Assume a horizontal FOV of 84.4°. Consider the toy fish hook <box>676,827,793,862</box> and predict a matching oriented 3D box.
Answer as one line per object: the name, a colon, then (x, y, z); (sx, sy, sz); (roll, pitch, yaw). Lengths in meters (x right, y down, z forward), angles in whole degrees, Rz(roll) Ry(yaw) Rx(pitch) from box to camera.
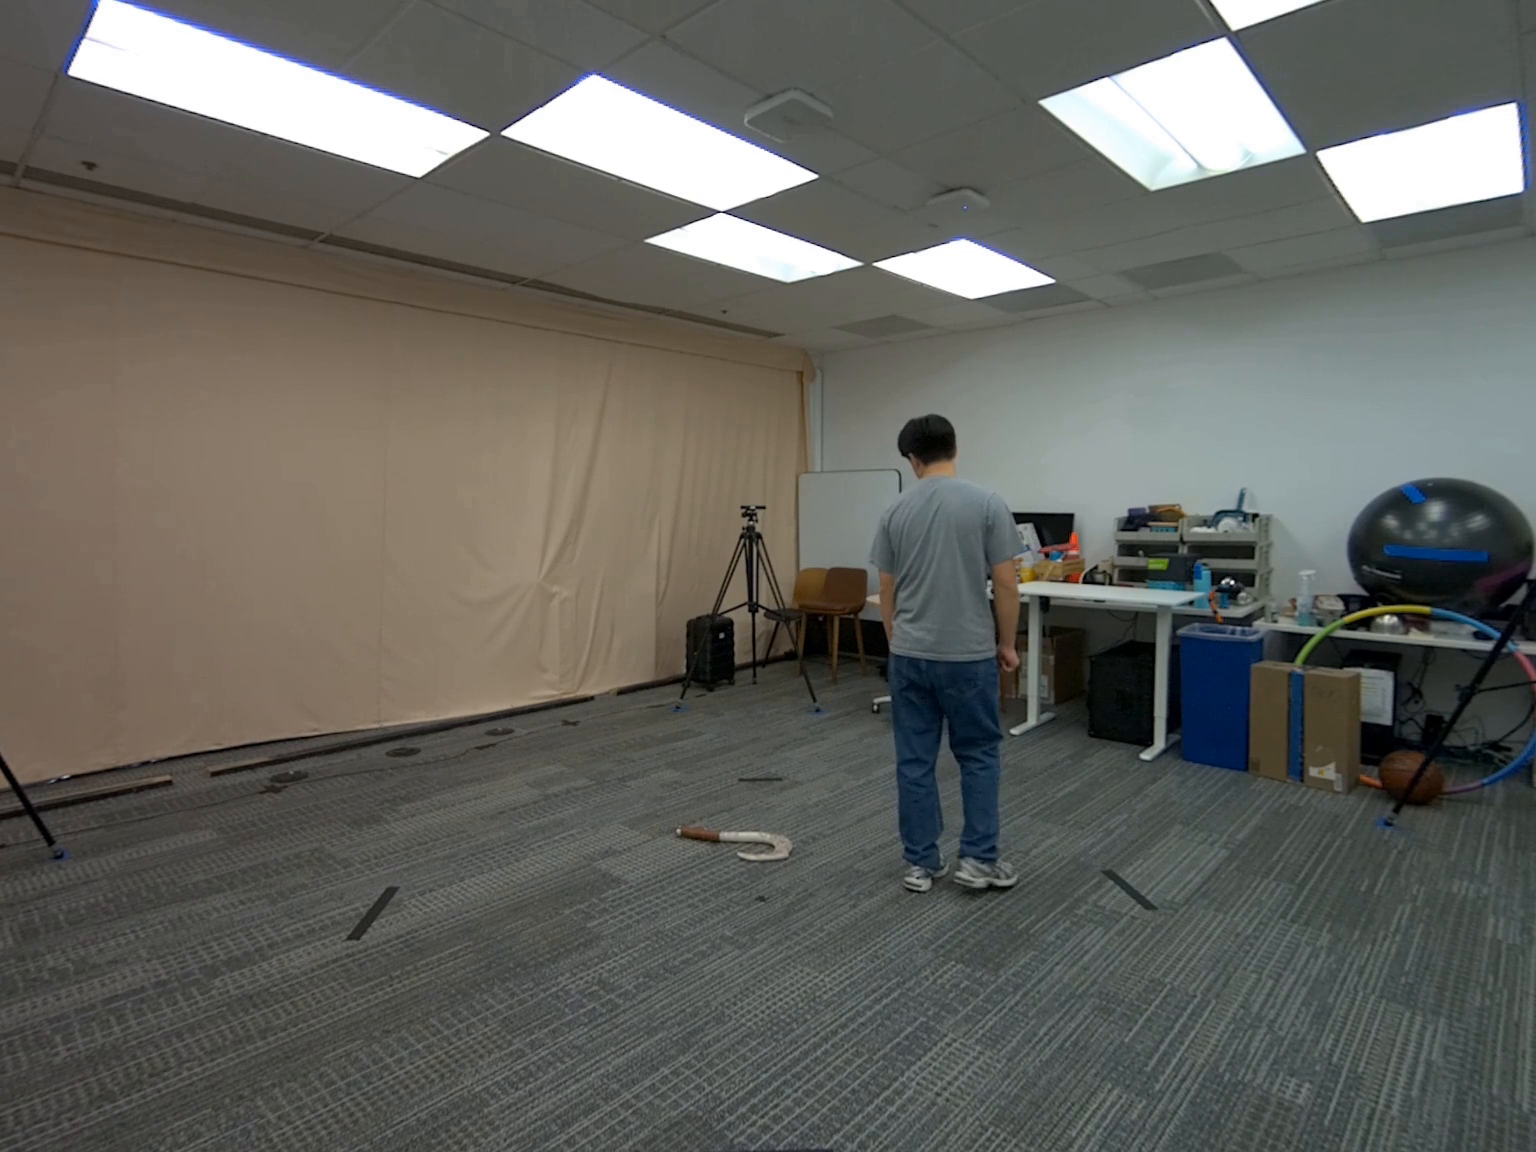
toy fish hook: (-0.154, 1.083, 3.425); (0.516, 0.048, 0.221); (0, 4, 16)
